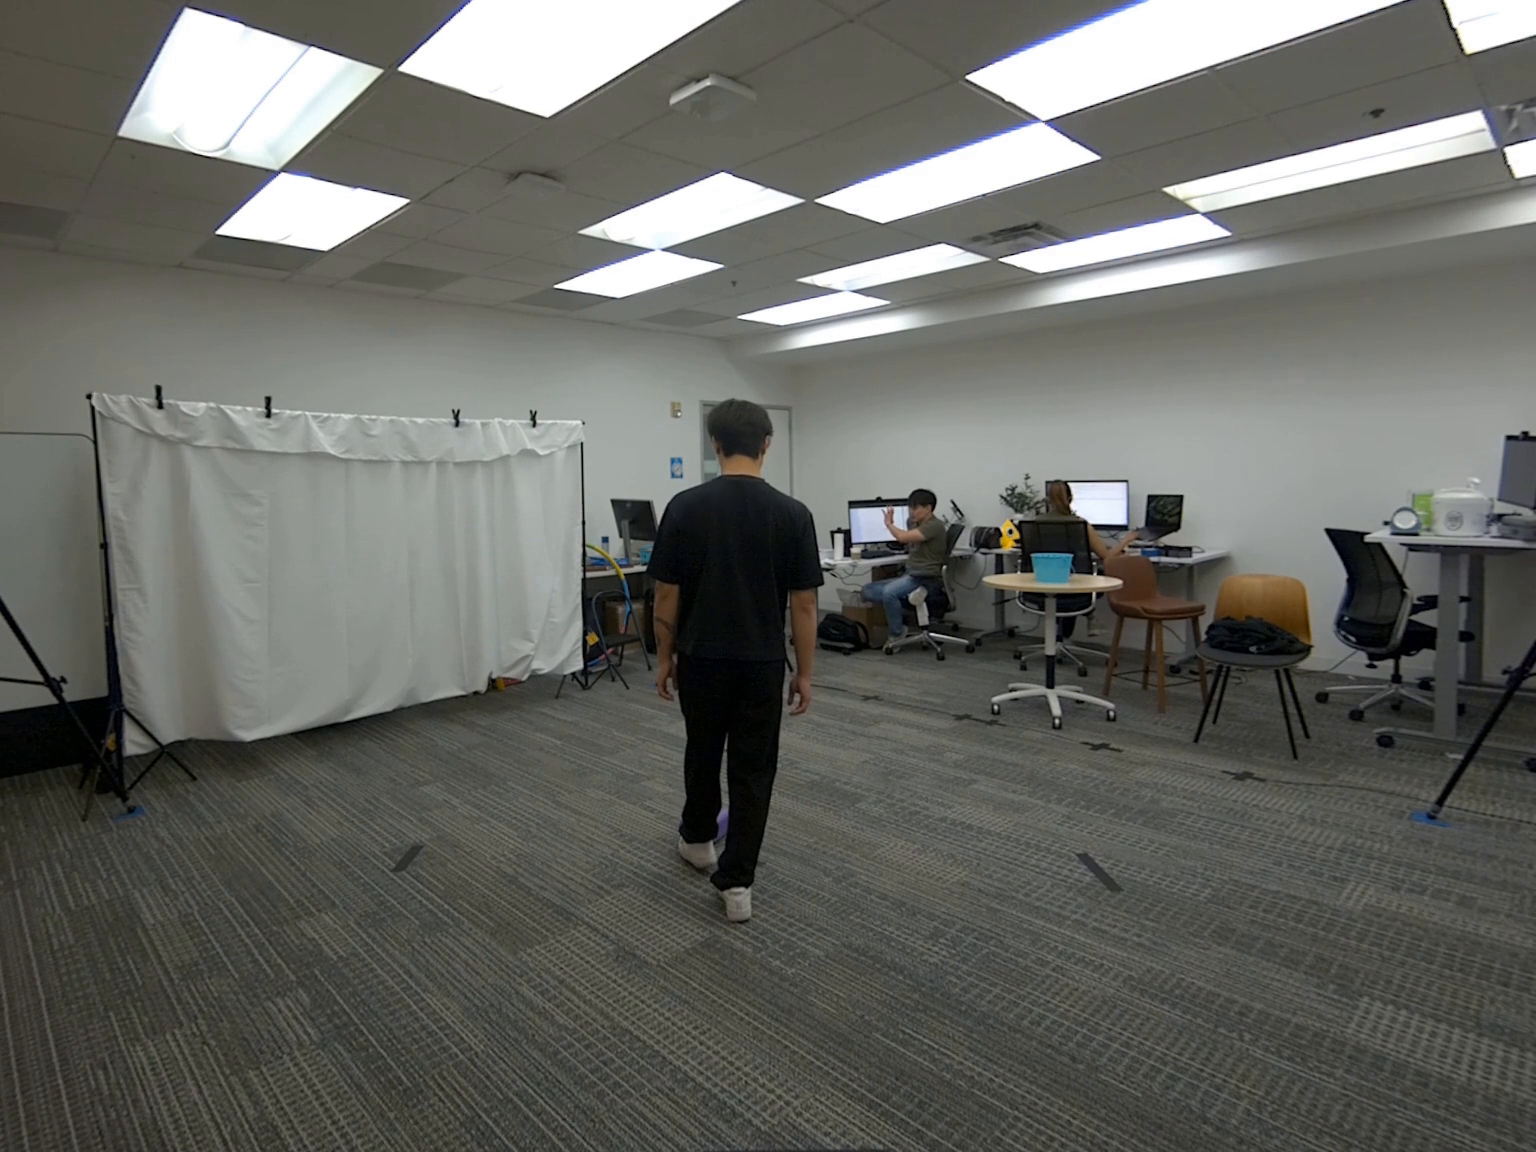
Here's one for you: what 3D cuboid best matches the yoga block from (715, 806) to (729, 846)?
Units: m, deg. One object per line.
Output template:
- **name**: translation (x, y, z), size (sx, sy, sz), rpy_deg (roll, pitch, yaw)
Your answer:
- **yoga block**: translation (-0.231, 0.978, 3.372), size (0.152, 0.076, 0.225), rpy_deg (1, 3, 22)
